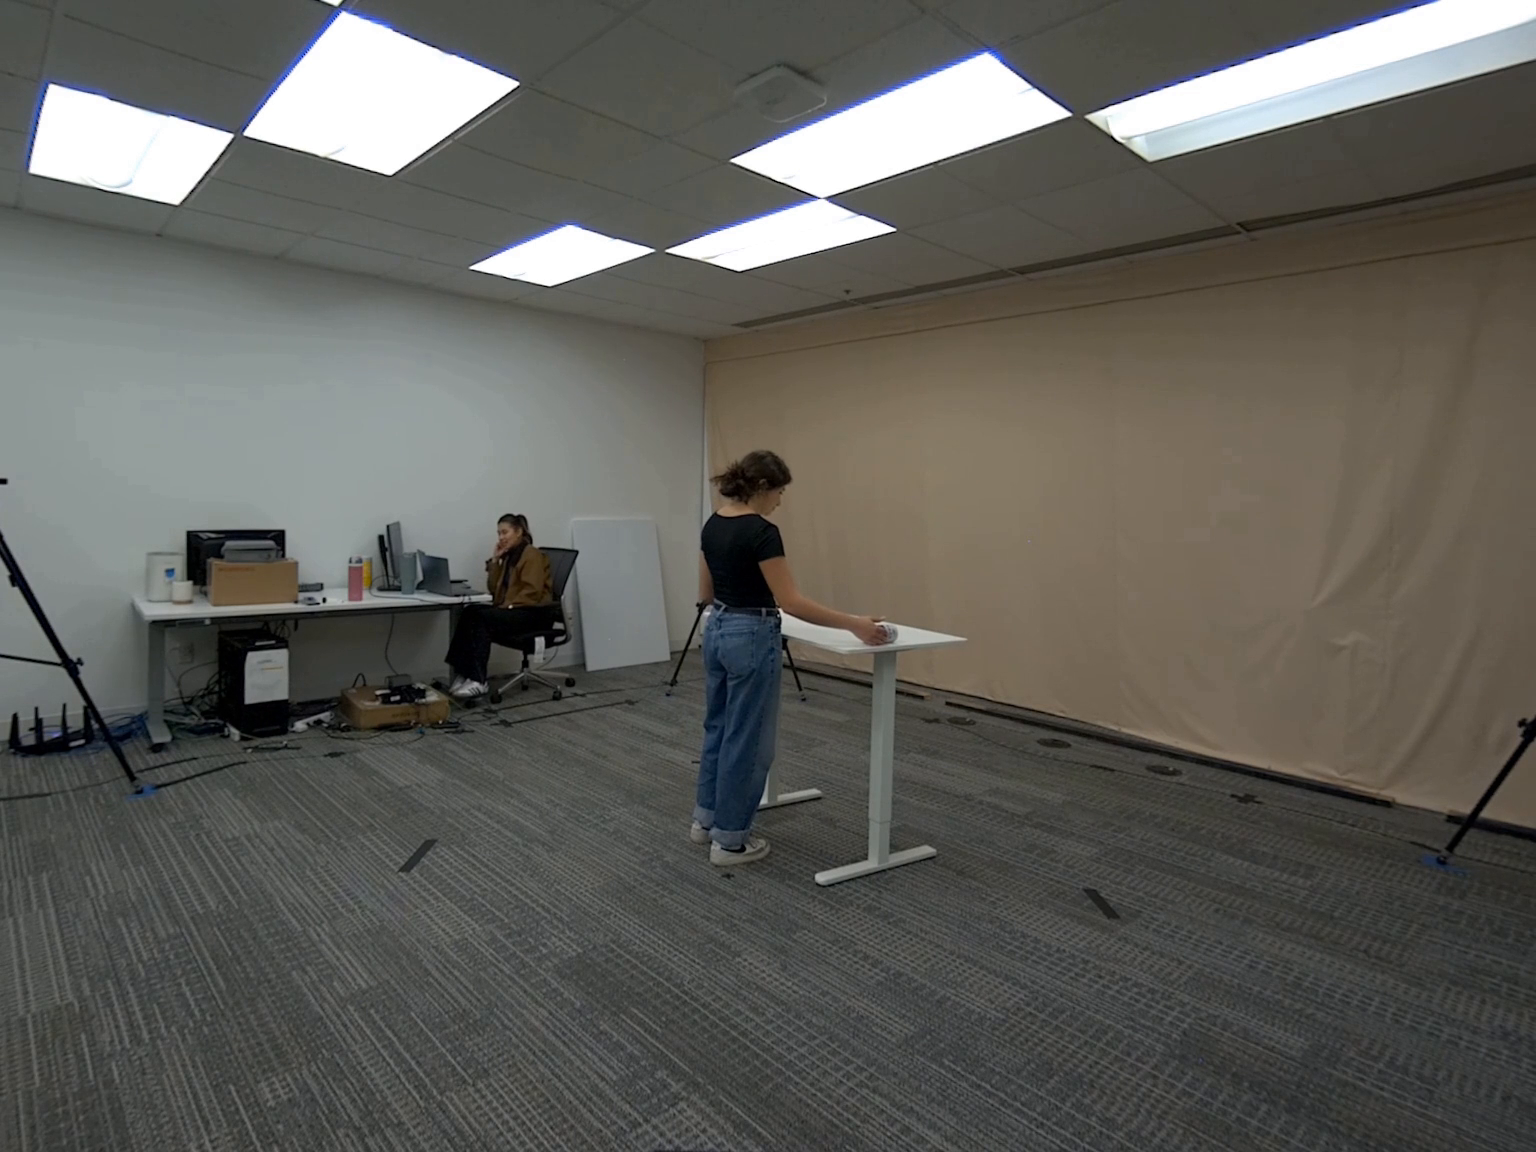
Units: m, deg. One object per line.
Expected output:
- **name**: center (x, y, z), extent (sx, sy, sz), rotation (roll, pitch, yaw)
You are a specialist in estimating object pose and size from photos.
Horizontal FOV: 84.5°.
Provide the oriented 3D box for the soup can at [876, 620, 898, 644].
- **soup can**: center (0.398, 0.207, 3.061), extent (0.120, 0.067, 0.068), rotation (1, 4, -15)
